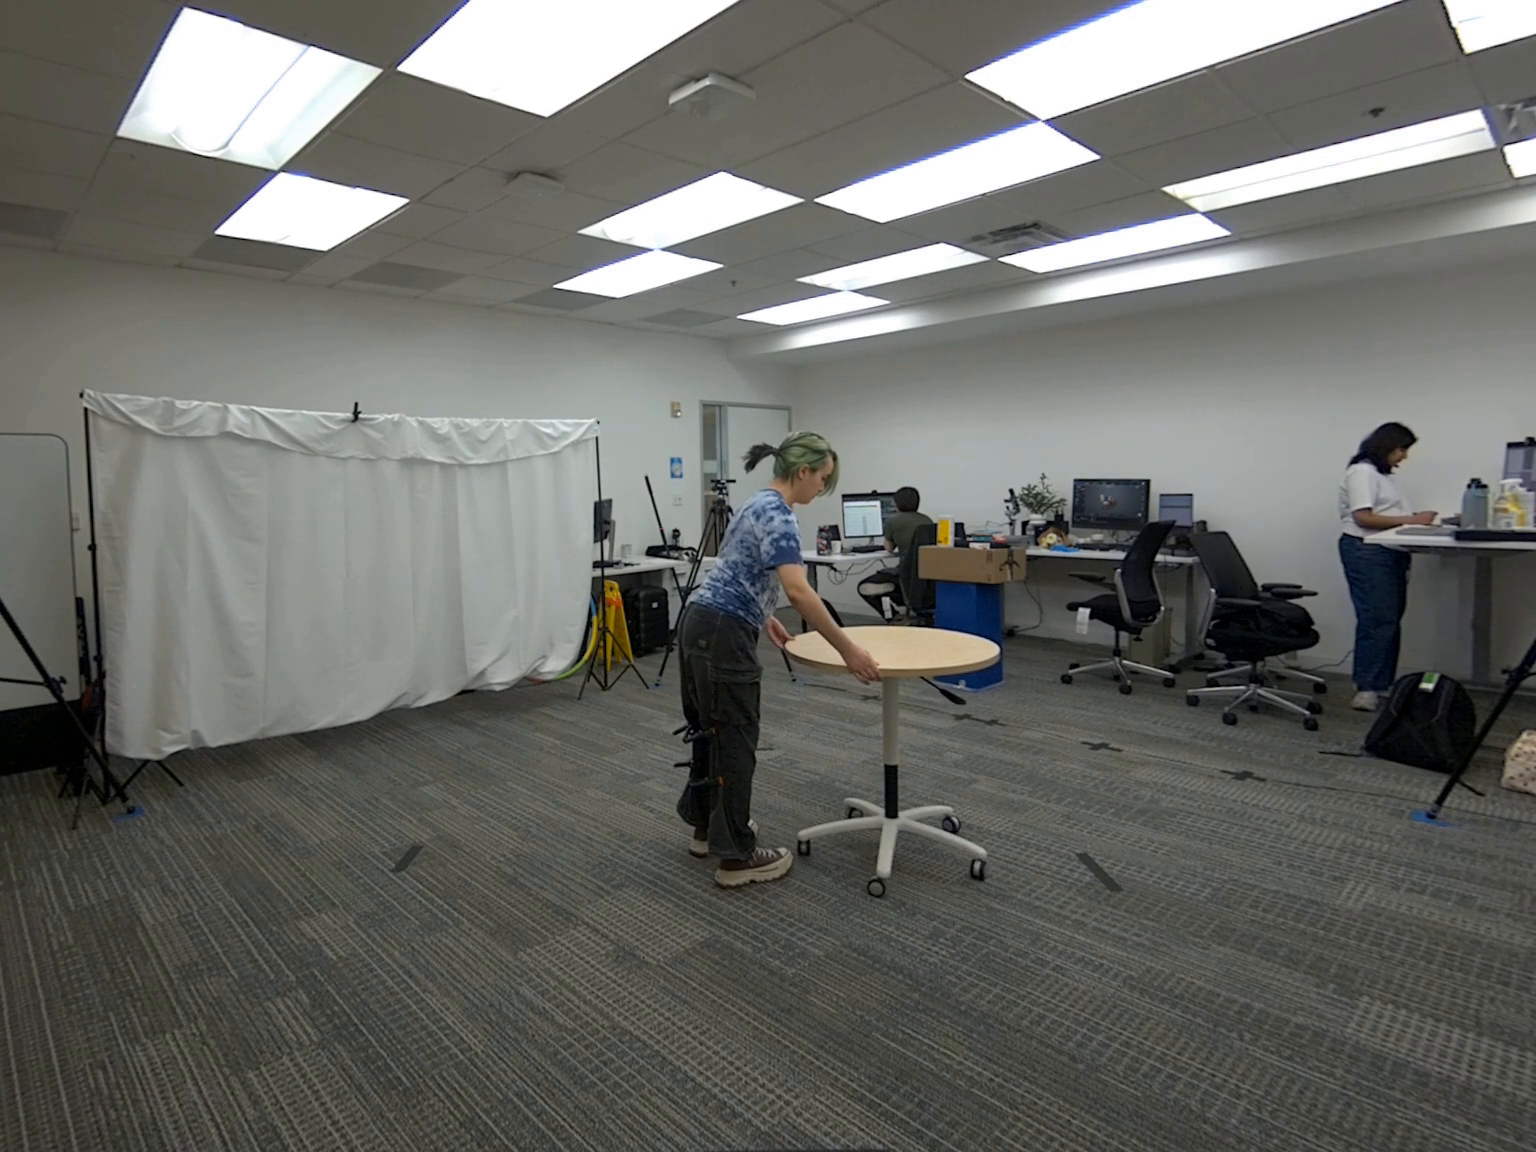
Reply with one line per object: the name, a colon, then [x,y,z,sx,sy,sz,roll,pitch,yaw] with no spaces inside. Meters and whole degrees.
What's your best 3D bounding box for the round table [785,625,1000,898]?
round table: [0.455,0.645,3.144,0.763,0.791,0.768,-1,5,-2]
